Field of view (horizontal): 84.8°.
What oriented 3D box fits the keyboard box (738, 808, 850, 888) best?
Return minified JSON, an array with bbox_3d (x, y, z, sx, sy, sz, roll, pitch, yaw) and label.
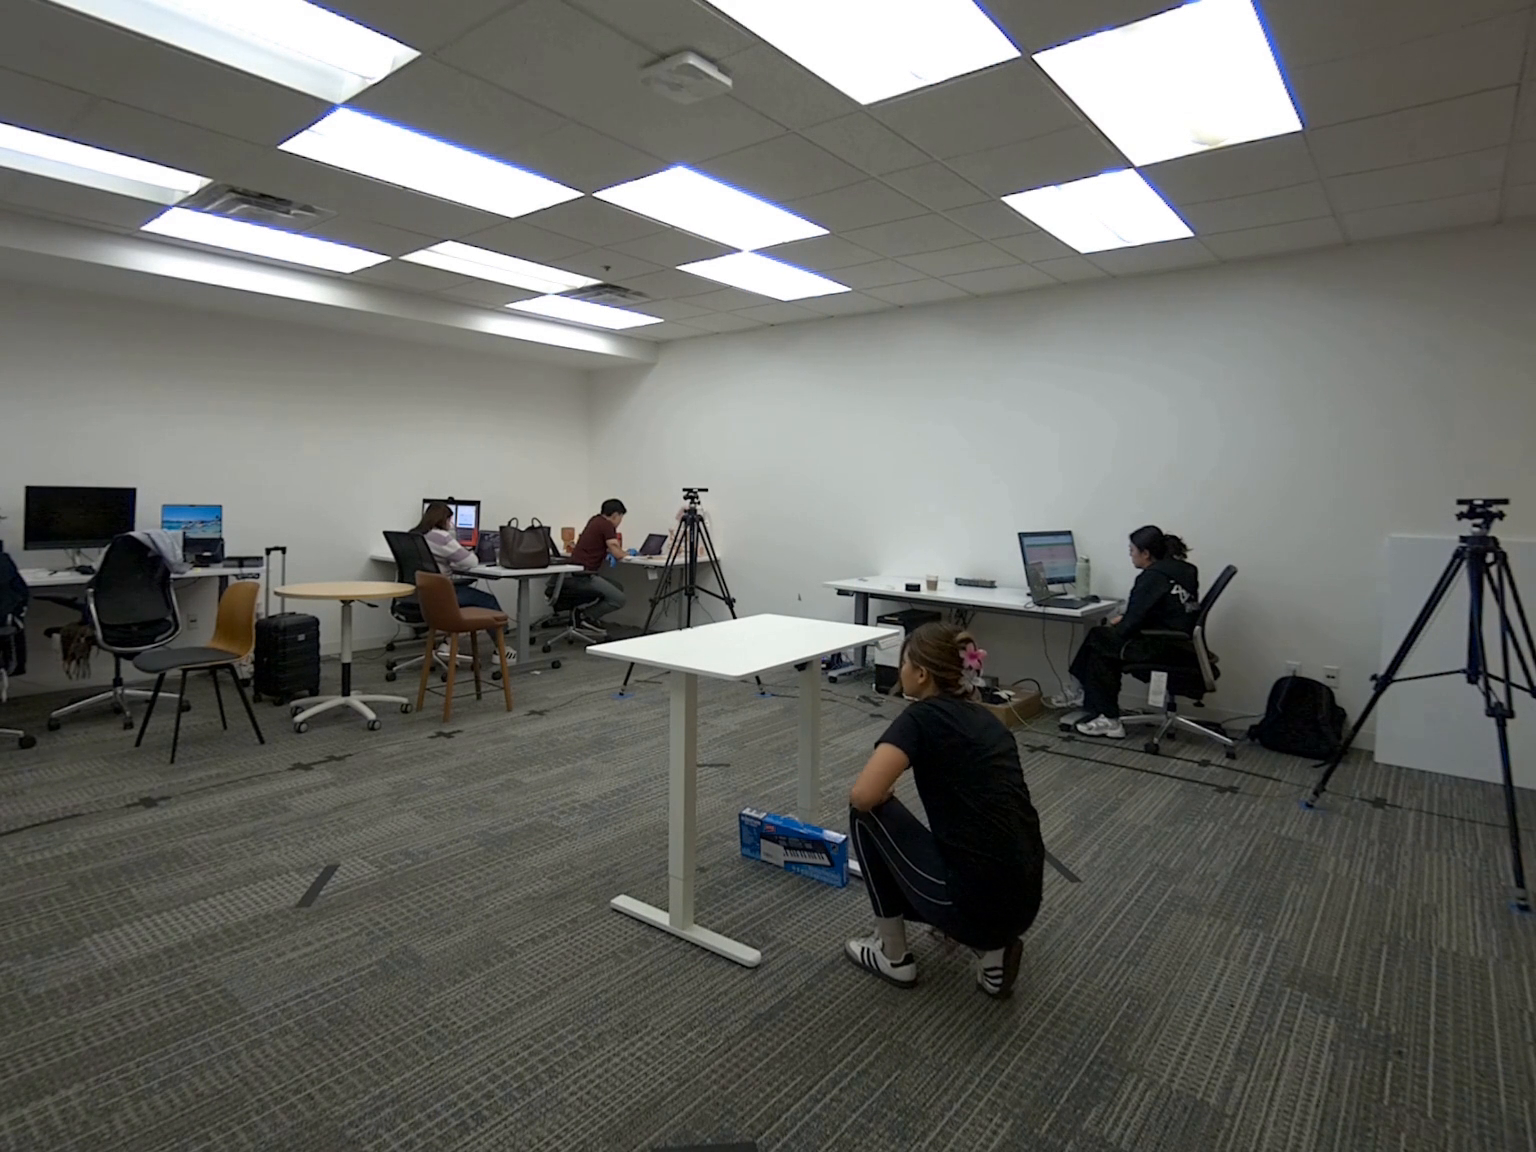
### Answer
[{"bbox_3d":[0.083,0.986,3.125,0.451,0.174,0.058,5,12,35],"label":"keyboard box"}]
